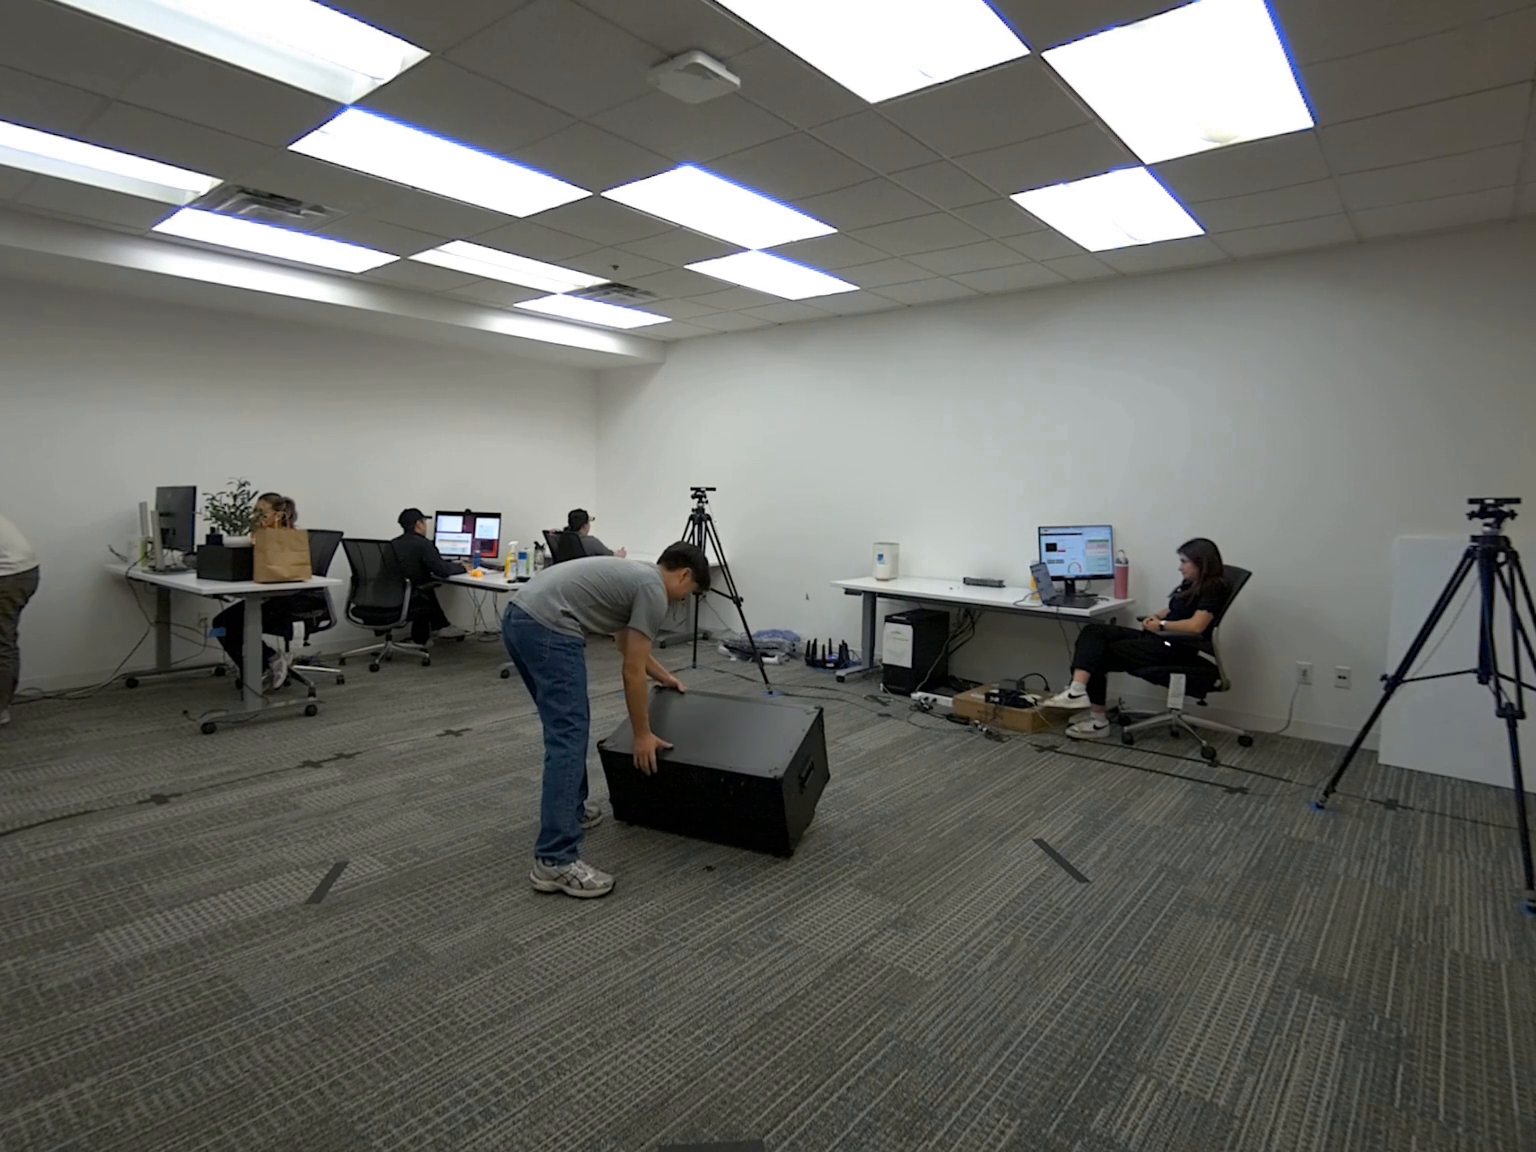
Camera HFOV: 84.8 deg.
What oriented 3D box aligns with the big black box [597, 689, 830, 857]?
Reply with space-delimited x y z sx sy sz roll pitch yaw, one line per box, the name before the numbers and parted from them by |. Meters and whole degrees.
big black box | -0.241 0.778 3.500 0.883 0.387 0.520 3 26 24
